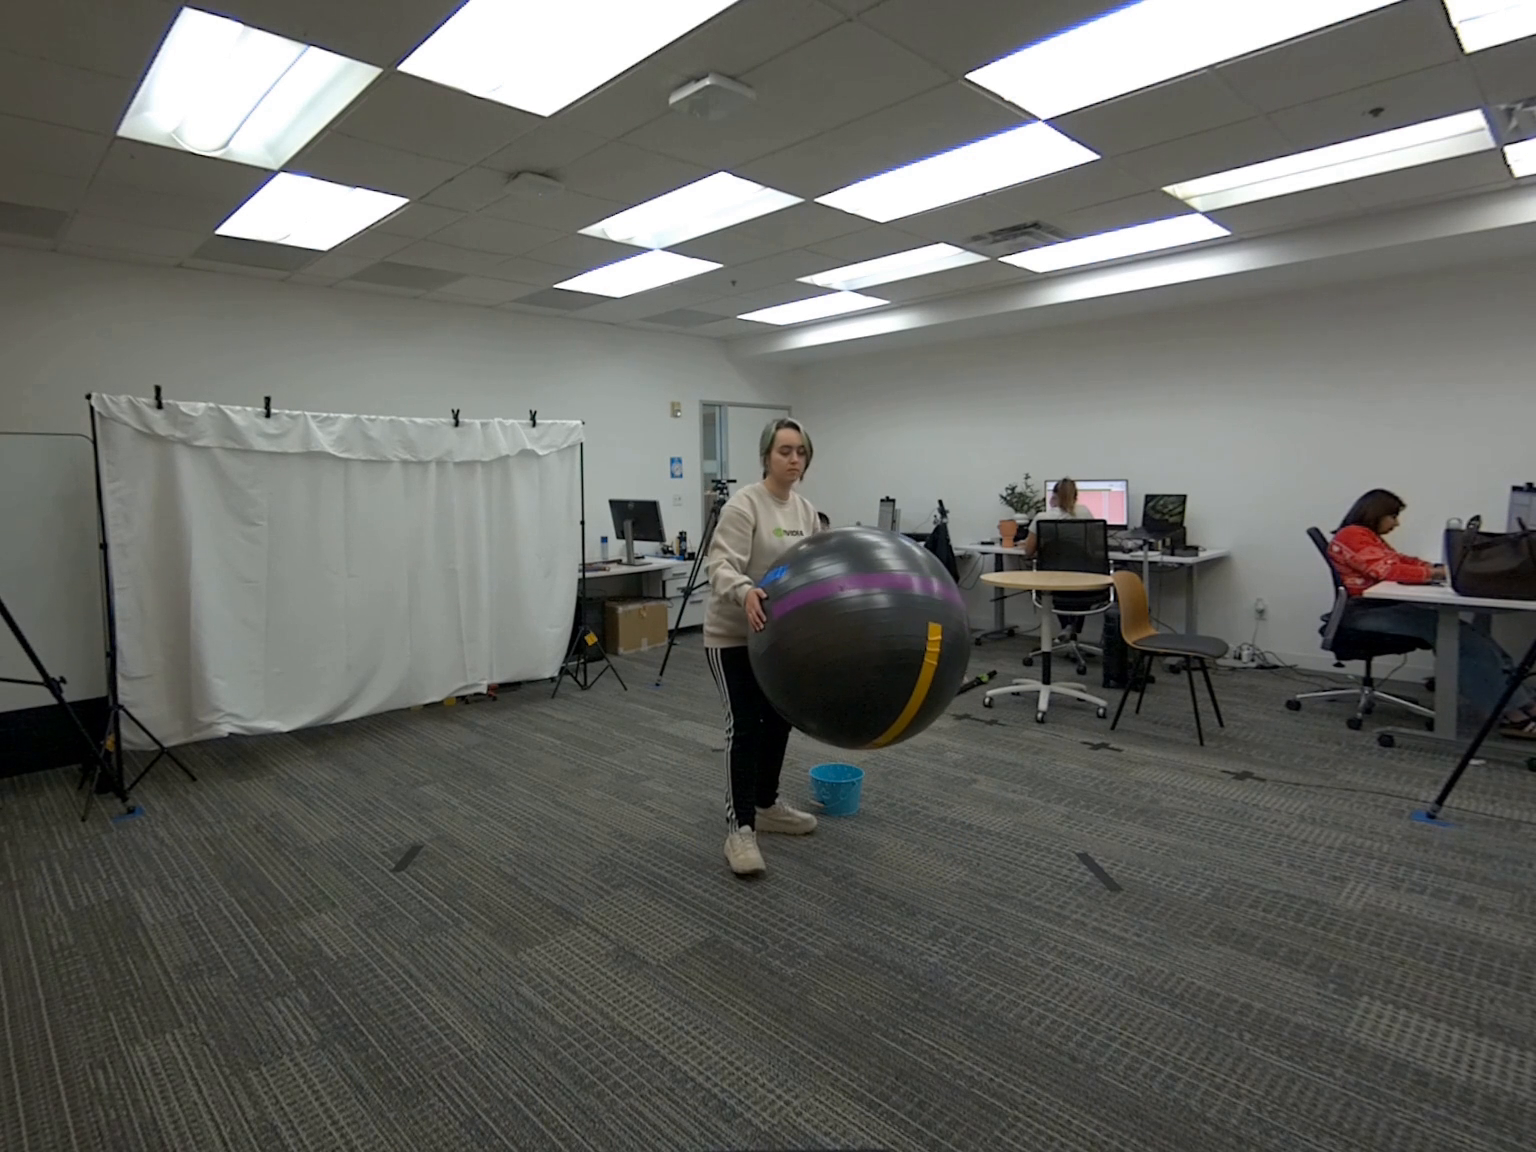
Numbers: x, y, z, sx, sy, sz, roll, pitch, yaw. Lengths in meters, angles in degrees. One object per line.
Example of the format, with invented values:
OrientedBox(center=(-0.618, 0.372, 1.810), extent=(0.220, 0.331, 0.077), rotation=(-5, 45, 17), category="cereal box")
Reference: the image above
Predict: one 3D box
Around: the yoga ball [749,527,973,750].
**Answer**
OrientedBox(center=(0.307, 0.215, 2.917), extent=(0.757, 0.755, 0.762), rotation=(-1, 5, -2), category="yoga ball")
